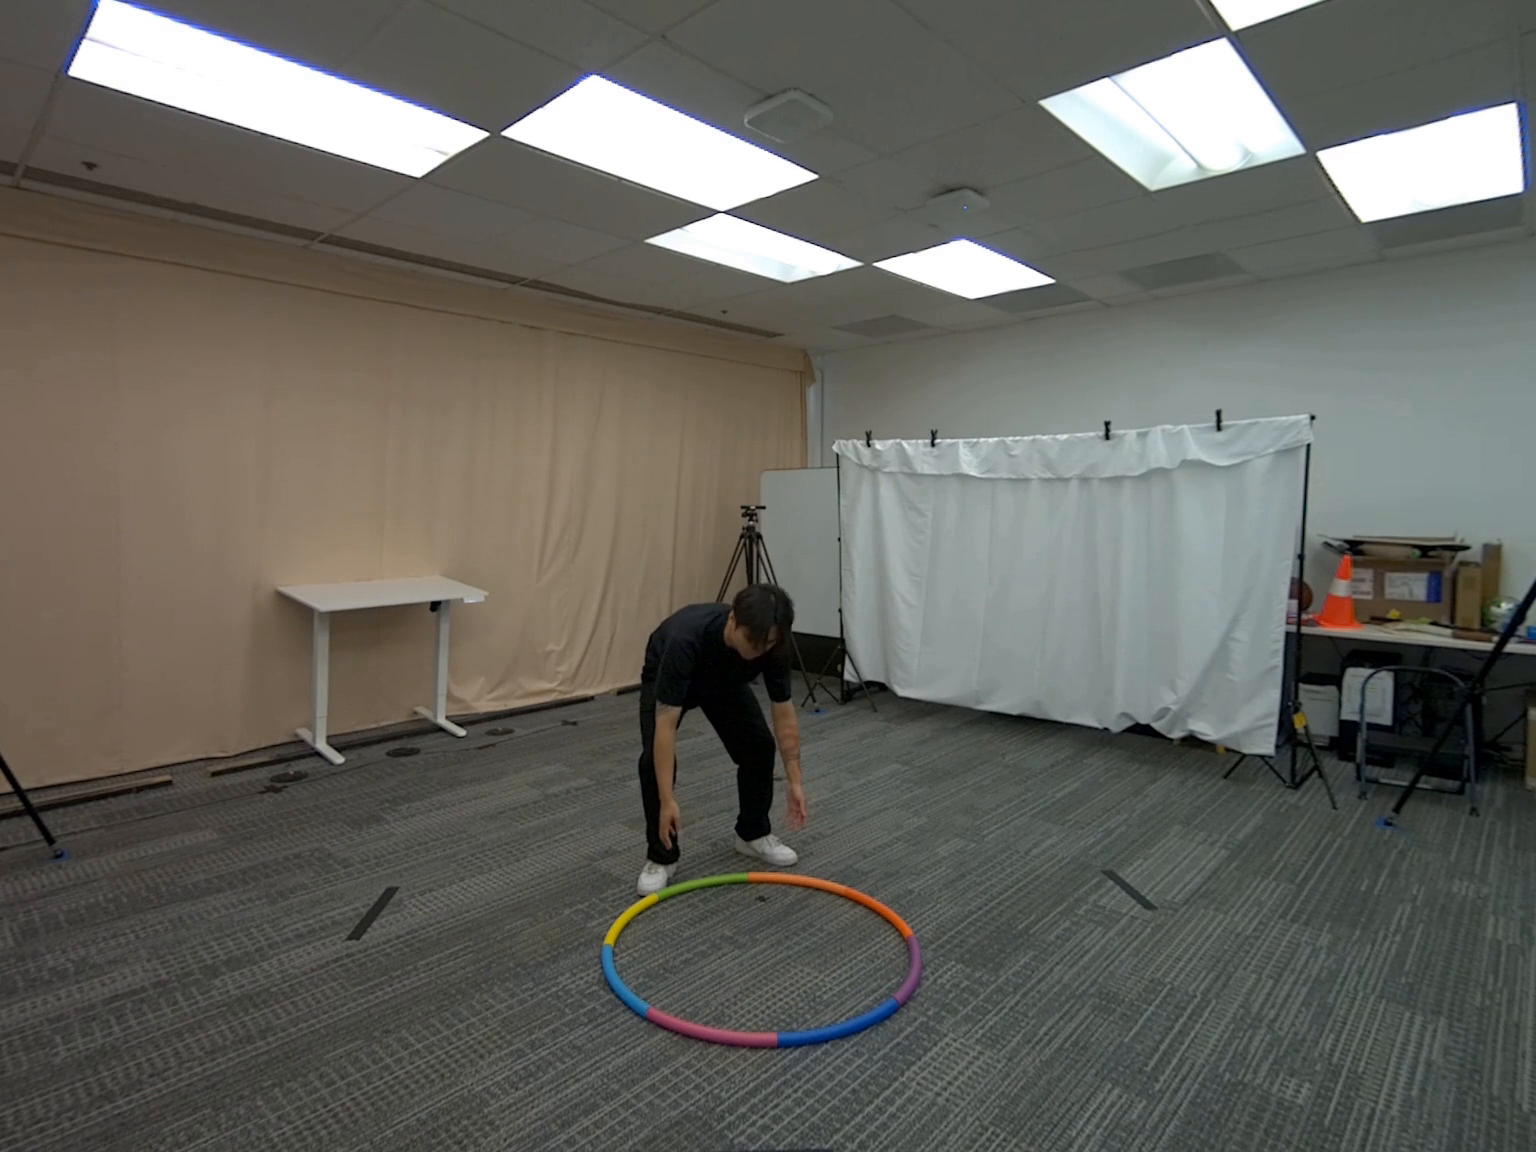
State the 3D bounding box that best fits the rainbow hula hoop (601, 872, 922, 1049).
[{"bbox_3d":[-0.019,1.142,2.647,0.978,0.035,0.982,0,4,-2],"label":"rainbow hula hoop"}]
